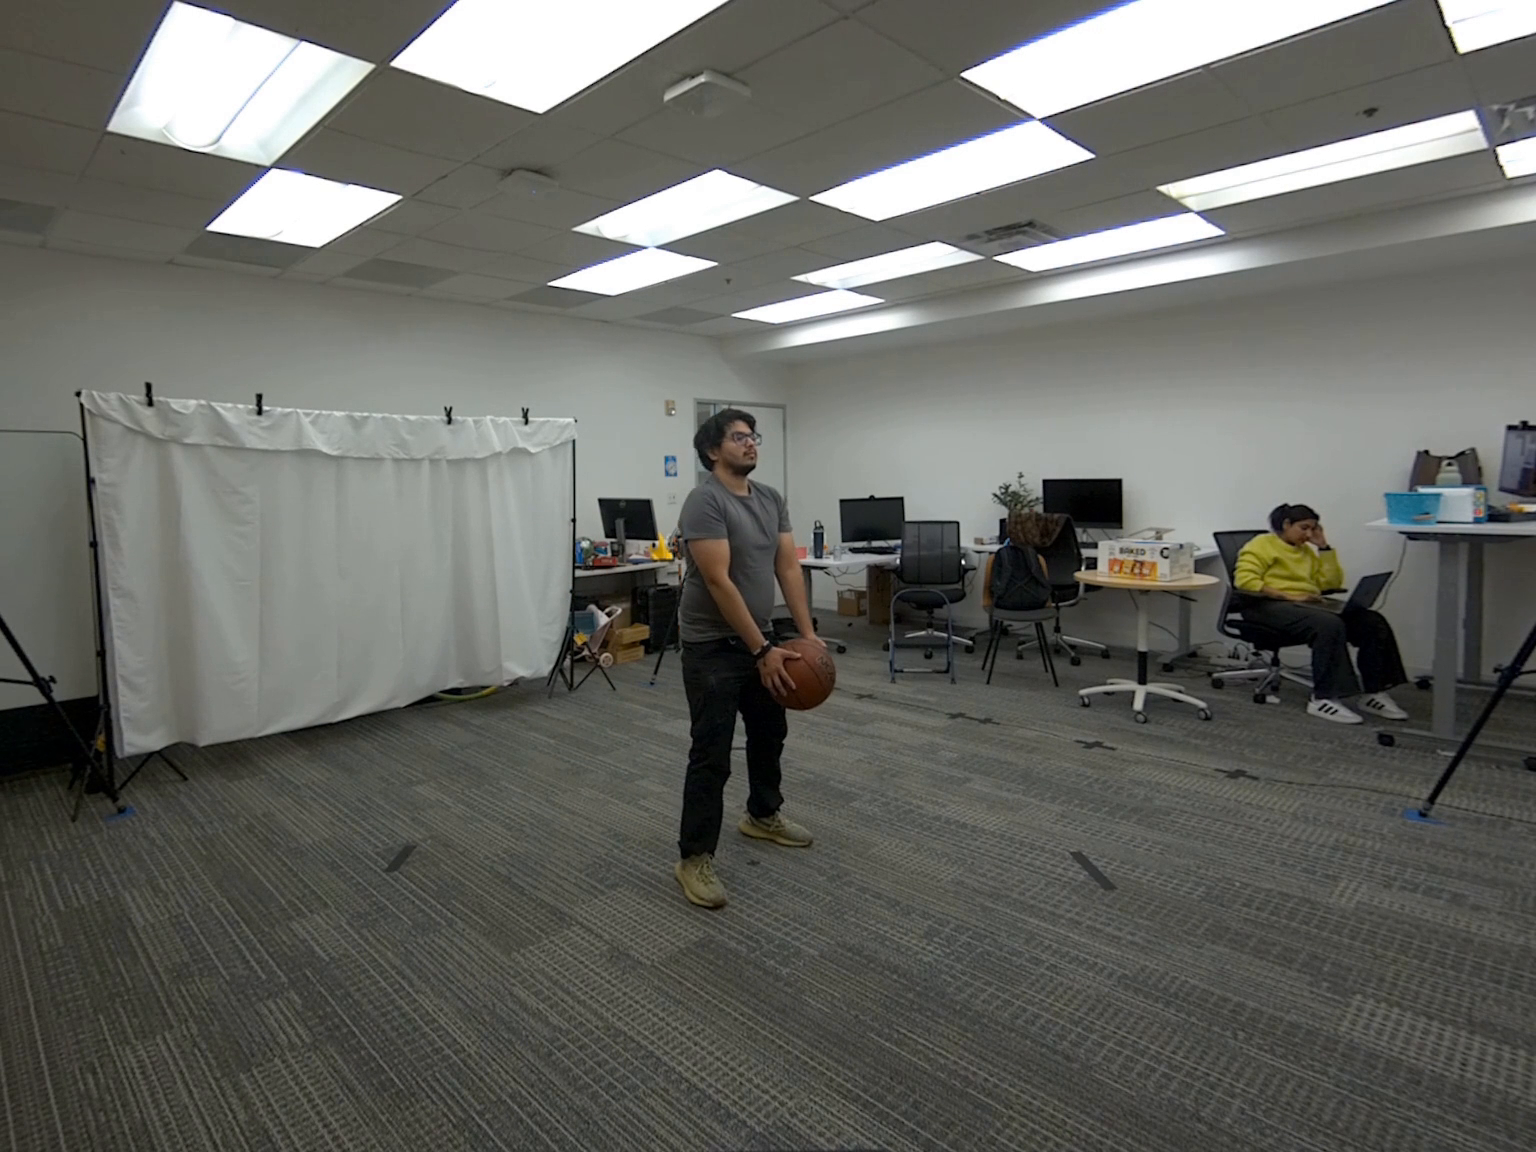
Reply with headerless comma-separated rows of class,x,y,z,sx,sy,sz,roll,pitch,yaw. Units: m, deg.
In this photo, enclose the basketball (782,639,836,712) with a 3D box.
basketball,0.103,0.325,2.856,0.236,0.235,0.237,-1,5,-2
